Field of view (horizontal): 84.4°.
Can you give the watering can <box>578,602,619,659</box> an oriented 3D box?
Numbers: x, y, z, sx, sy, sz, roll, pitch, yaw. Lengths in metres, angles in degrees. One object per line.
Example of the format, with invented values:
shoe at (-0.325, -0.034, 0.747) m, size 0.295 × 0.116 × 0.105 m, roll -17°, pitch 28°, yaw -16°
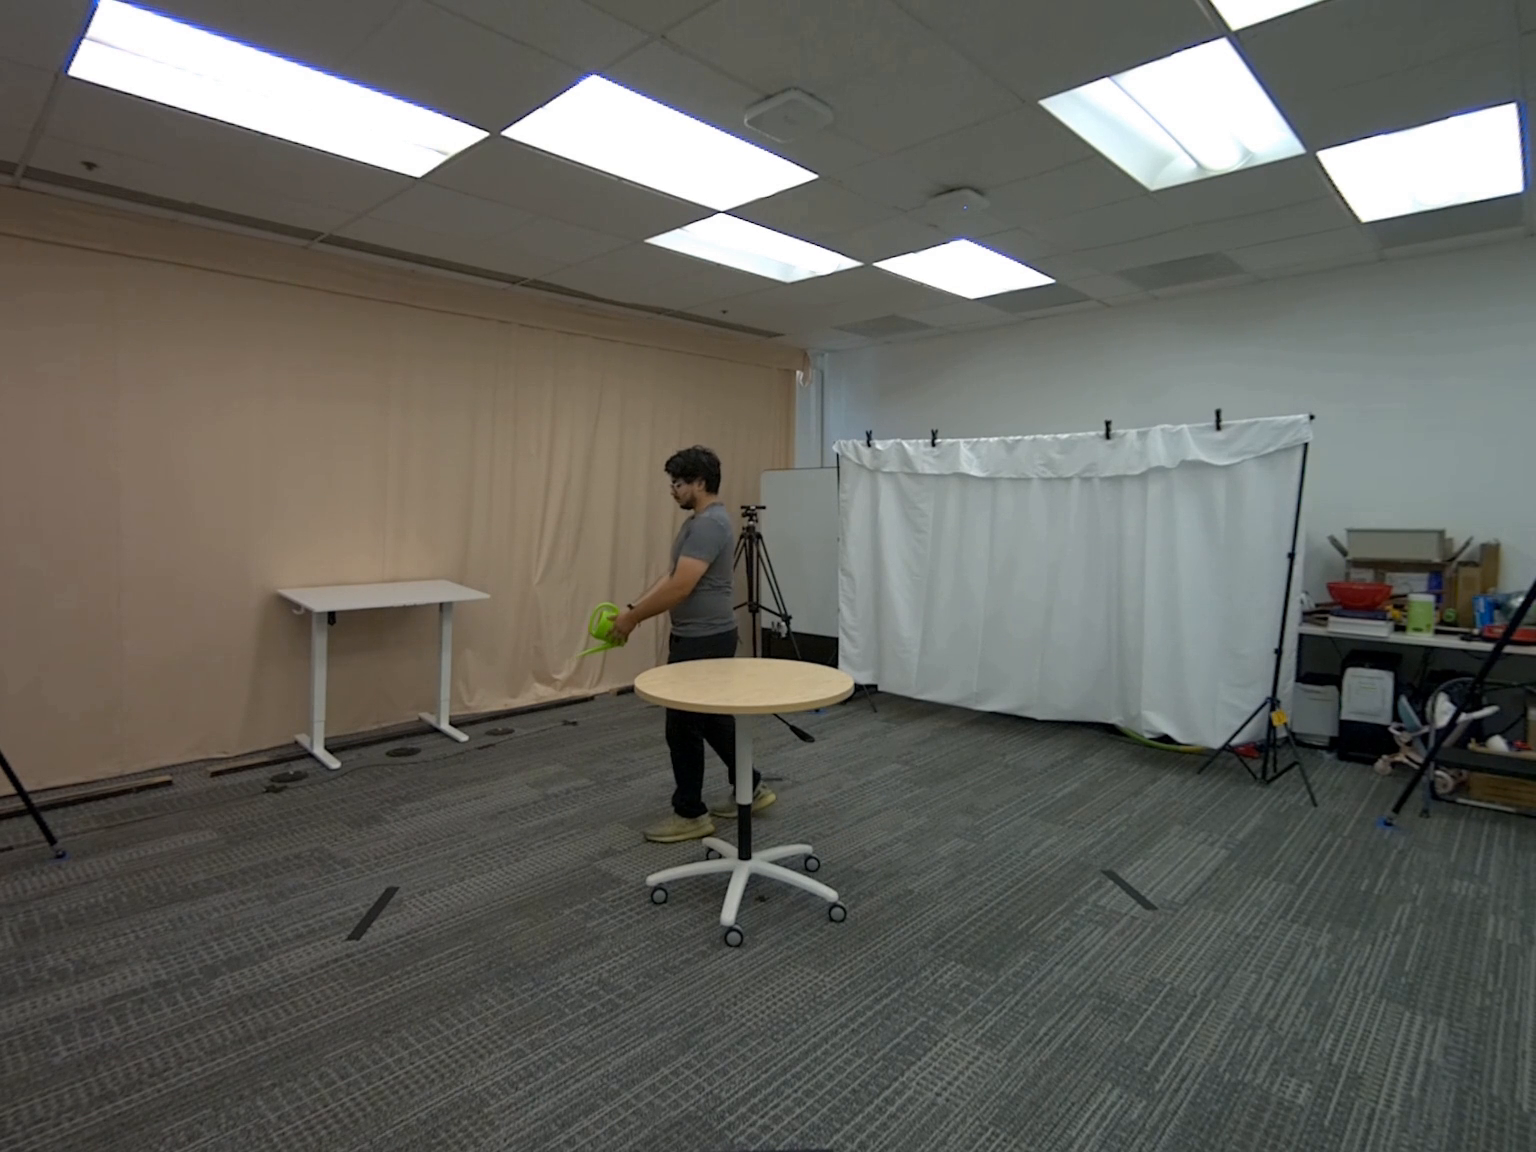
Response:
watering can at (-0.692, 0.257, 3.608) m, size 0.174 × 0.278 × 0.099 m, roll 22°, pitch 11°, yaw -11°
